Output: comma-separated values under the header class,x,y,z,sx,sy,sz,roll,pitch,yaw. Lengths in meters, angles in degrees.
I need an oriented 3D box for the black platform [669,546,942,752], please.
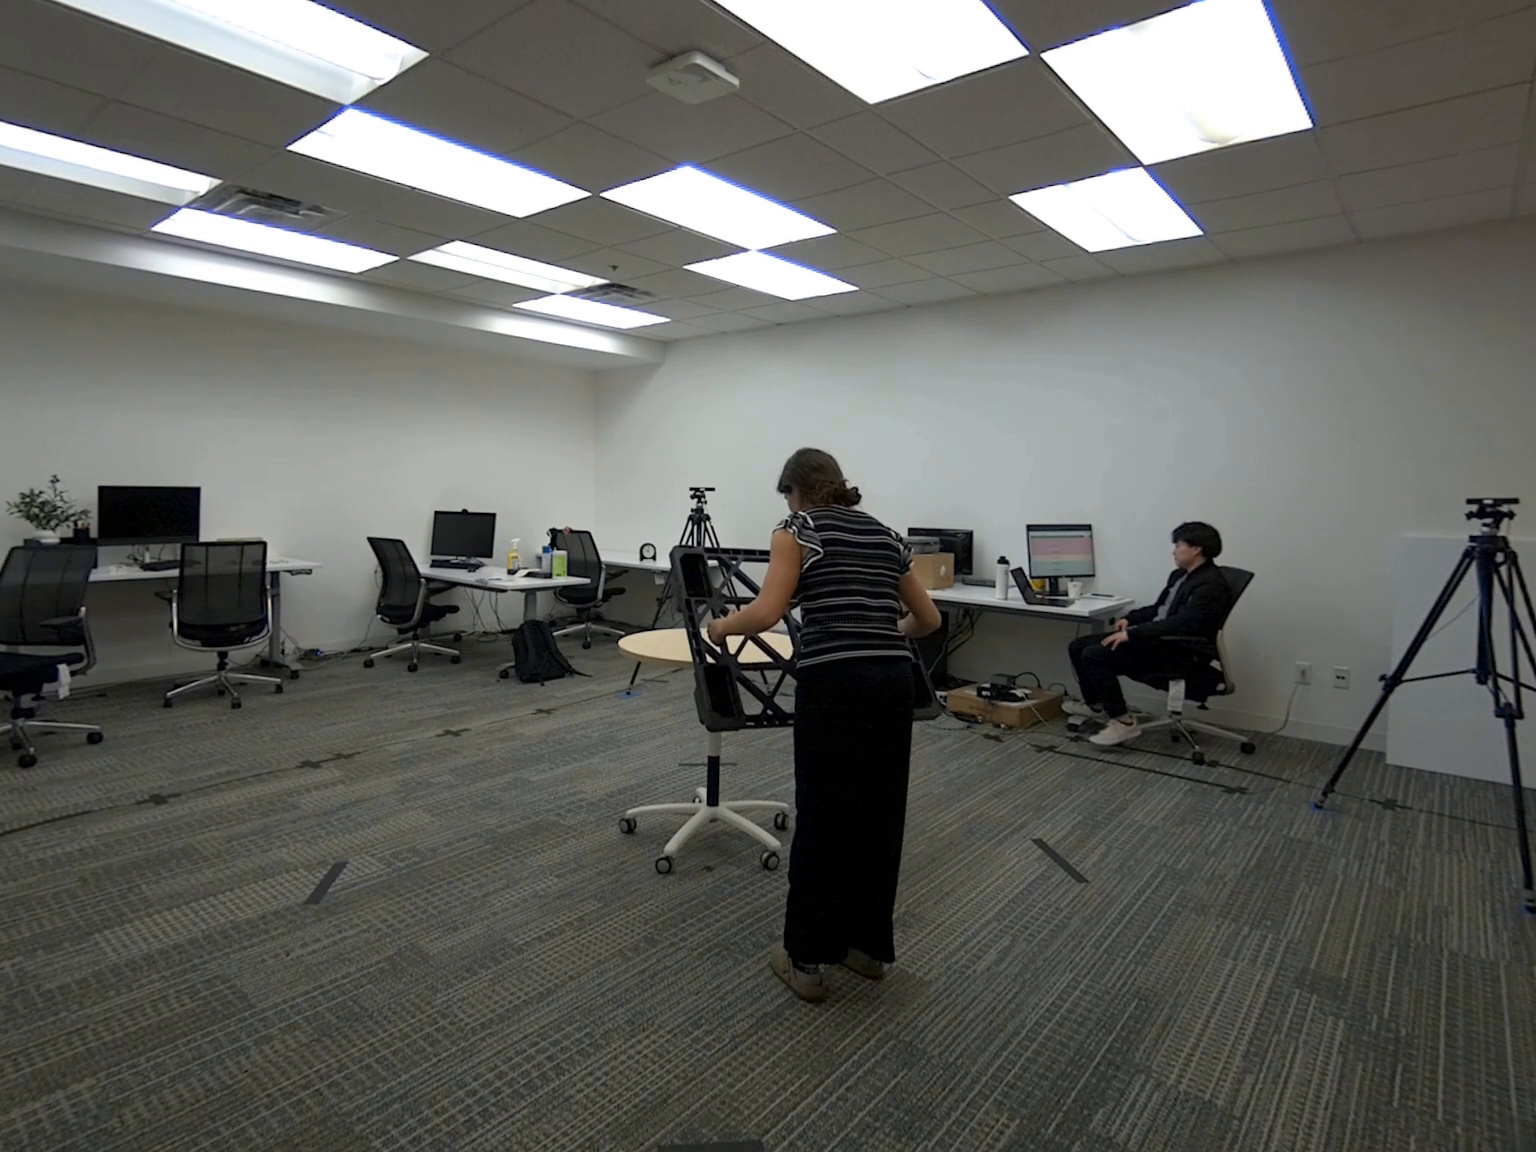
class,x,y,z,sx,sy,sz,roll,pitch,yaw
black platform,0.083,0.196,2.671,0.785,0.625,0.142,2,-36,-25
